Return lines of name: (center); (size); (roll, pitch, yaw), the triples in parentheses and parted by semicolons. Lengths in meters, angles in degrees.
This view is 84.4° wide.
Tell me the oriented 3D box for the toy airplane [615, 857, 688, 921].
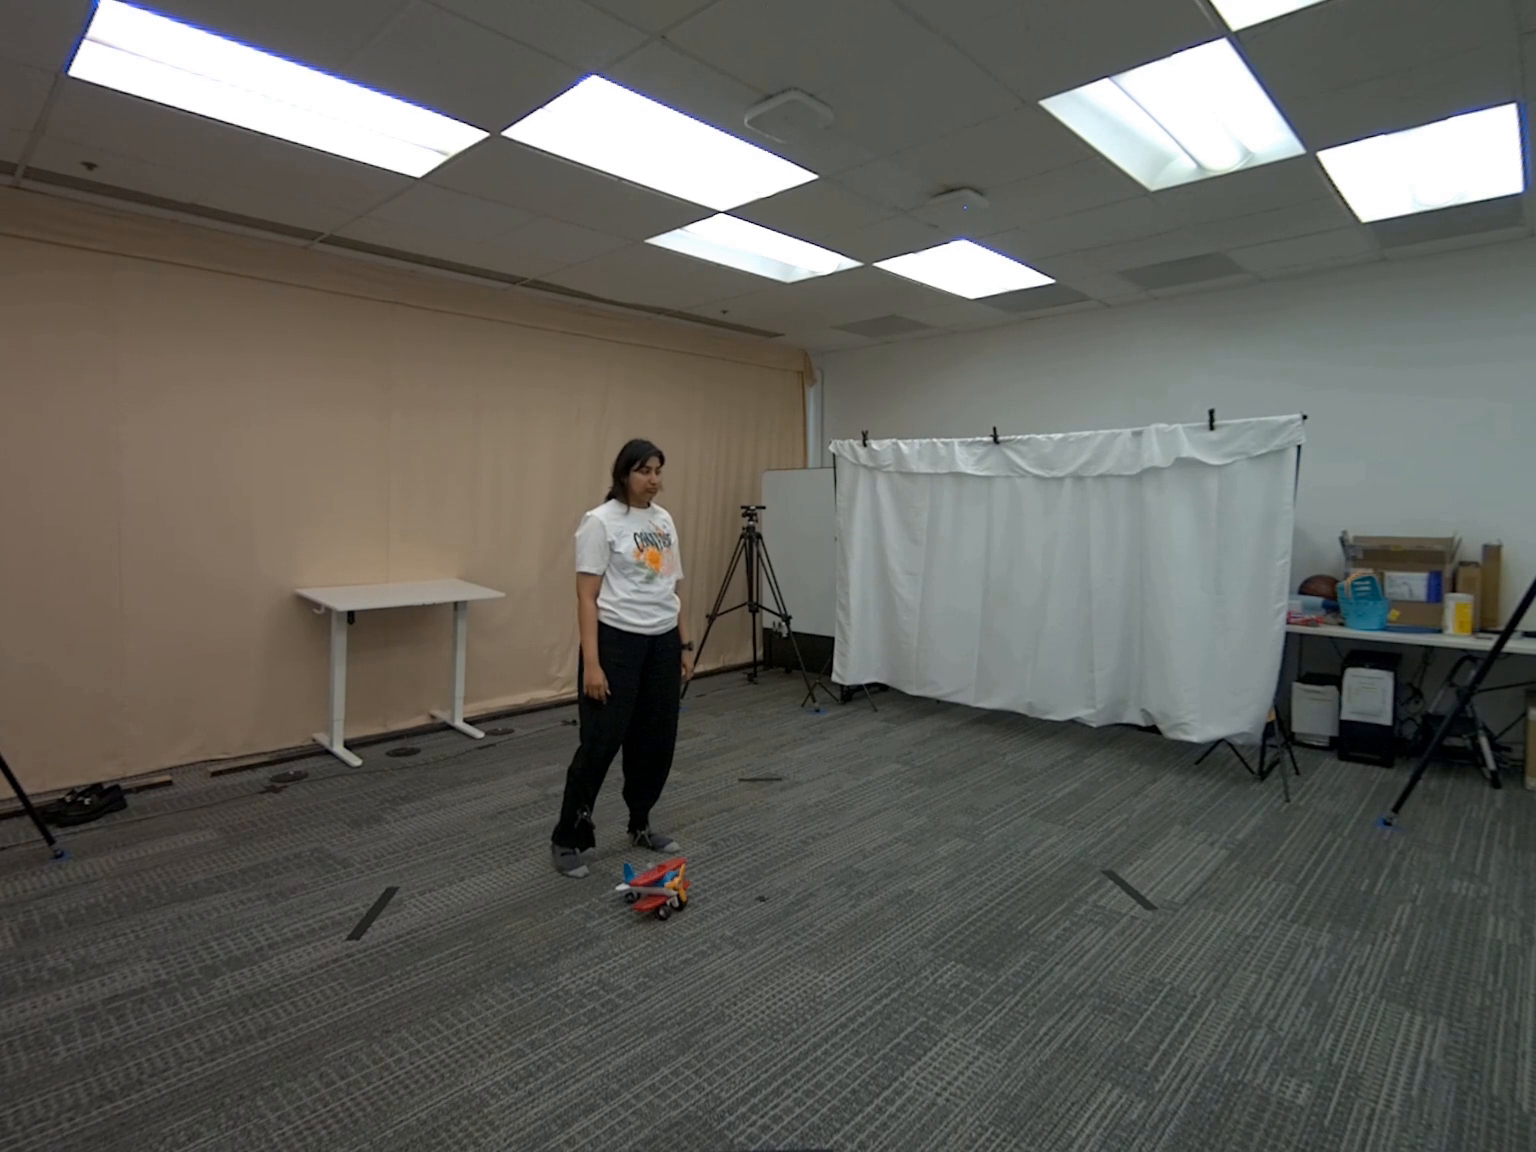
toy airplane: (-0.408, 1.076, 2.898); (0.261, 0.156, 0.250); (1, 5, 7)
